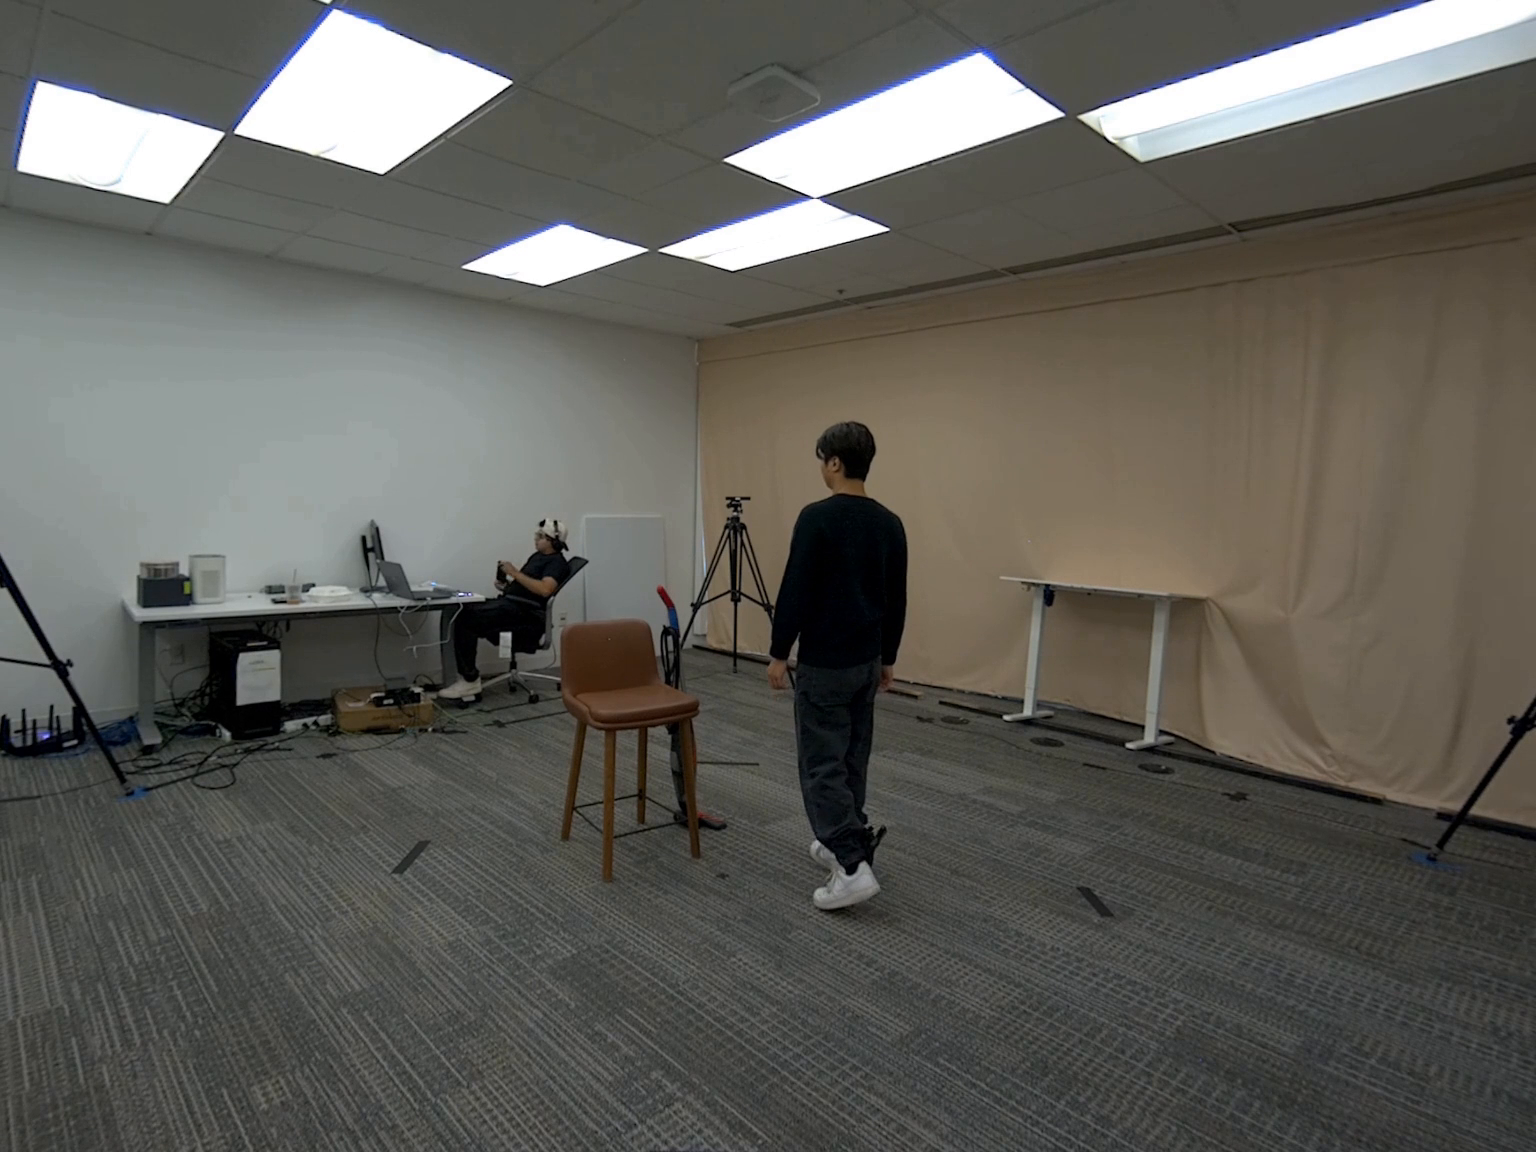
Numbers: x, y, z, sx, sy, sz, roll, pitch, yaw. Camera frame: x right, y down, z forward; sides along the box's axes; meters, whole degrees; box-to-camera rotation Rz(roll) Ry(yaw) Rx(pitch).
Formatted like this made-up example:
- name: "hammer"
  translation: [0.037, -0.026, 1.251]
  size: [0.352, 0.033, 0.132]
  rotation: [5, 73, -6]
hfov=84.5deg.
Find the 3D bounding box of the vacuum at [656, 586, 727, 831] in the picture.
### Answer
- name: "vacuum"
  translation: [-0.388, 0.561, 3.516]
  size: [0.142, 1.039, 0.259]
  rotation: [-17, 15, -42]
